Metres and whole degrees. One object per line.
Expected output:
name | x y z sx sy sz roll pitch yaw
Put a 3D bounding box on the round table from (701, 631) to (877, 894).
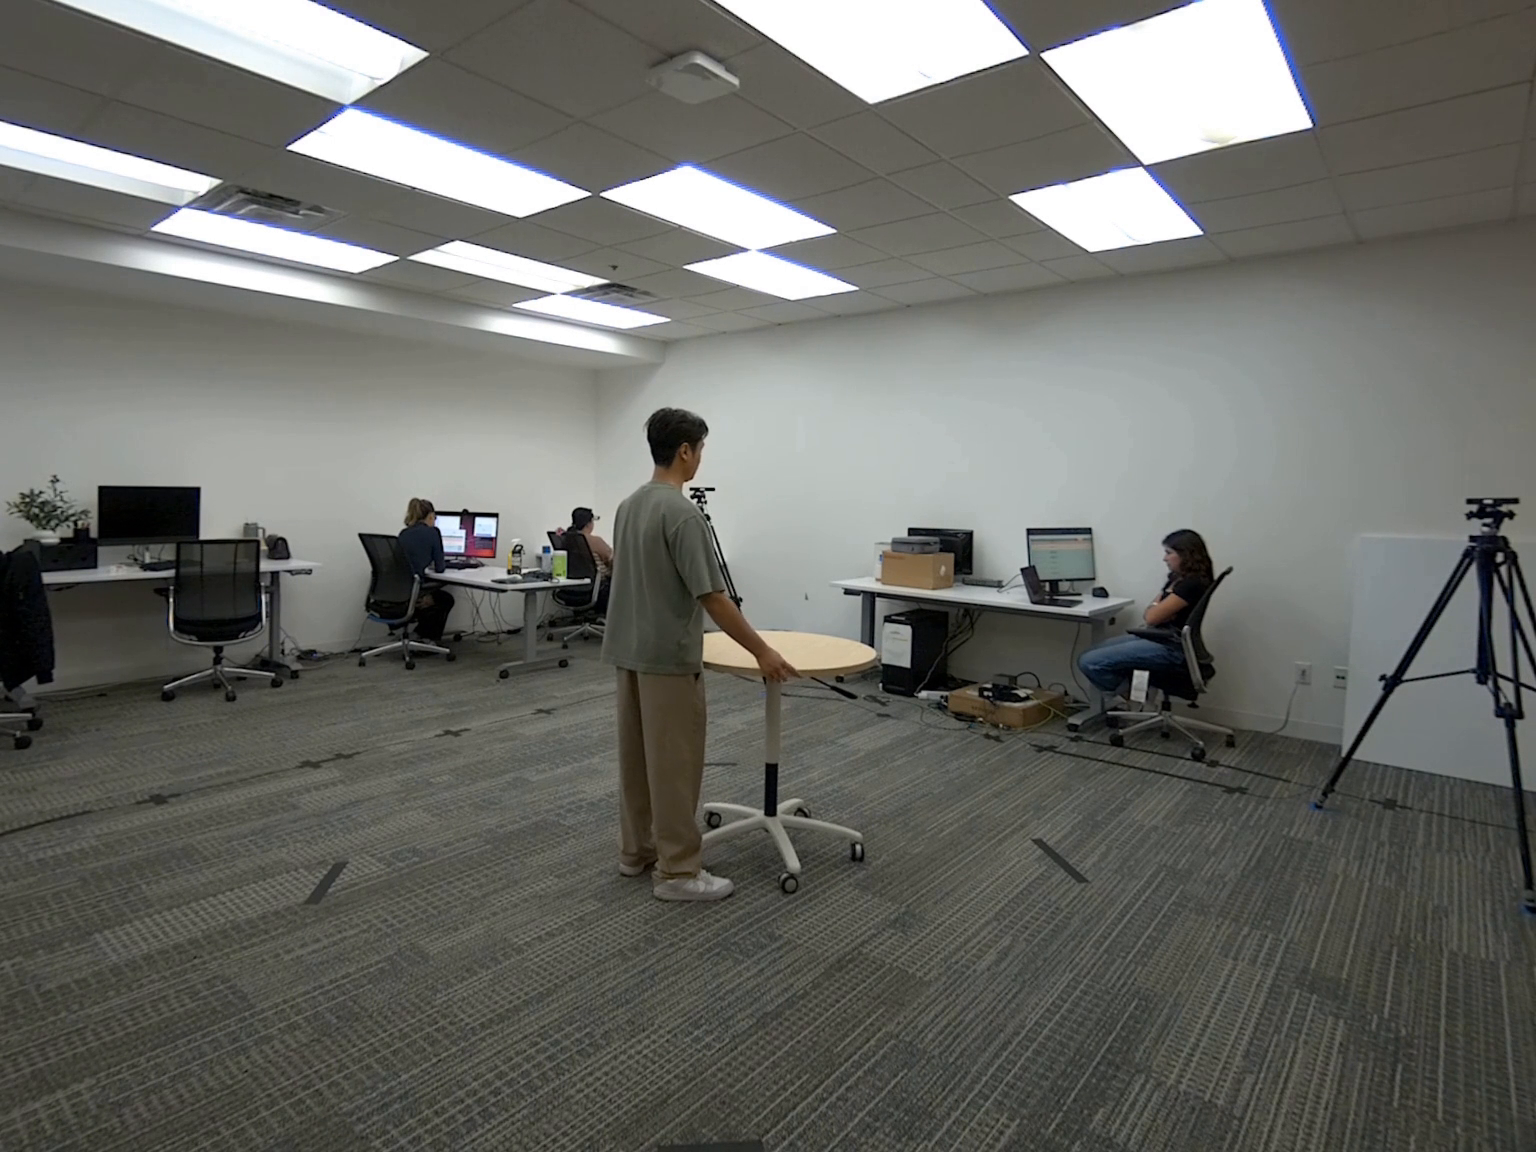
round table | 0.006 0.661 3.273 0.784 0.784 0.789 2 4 -2
